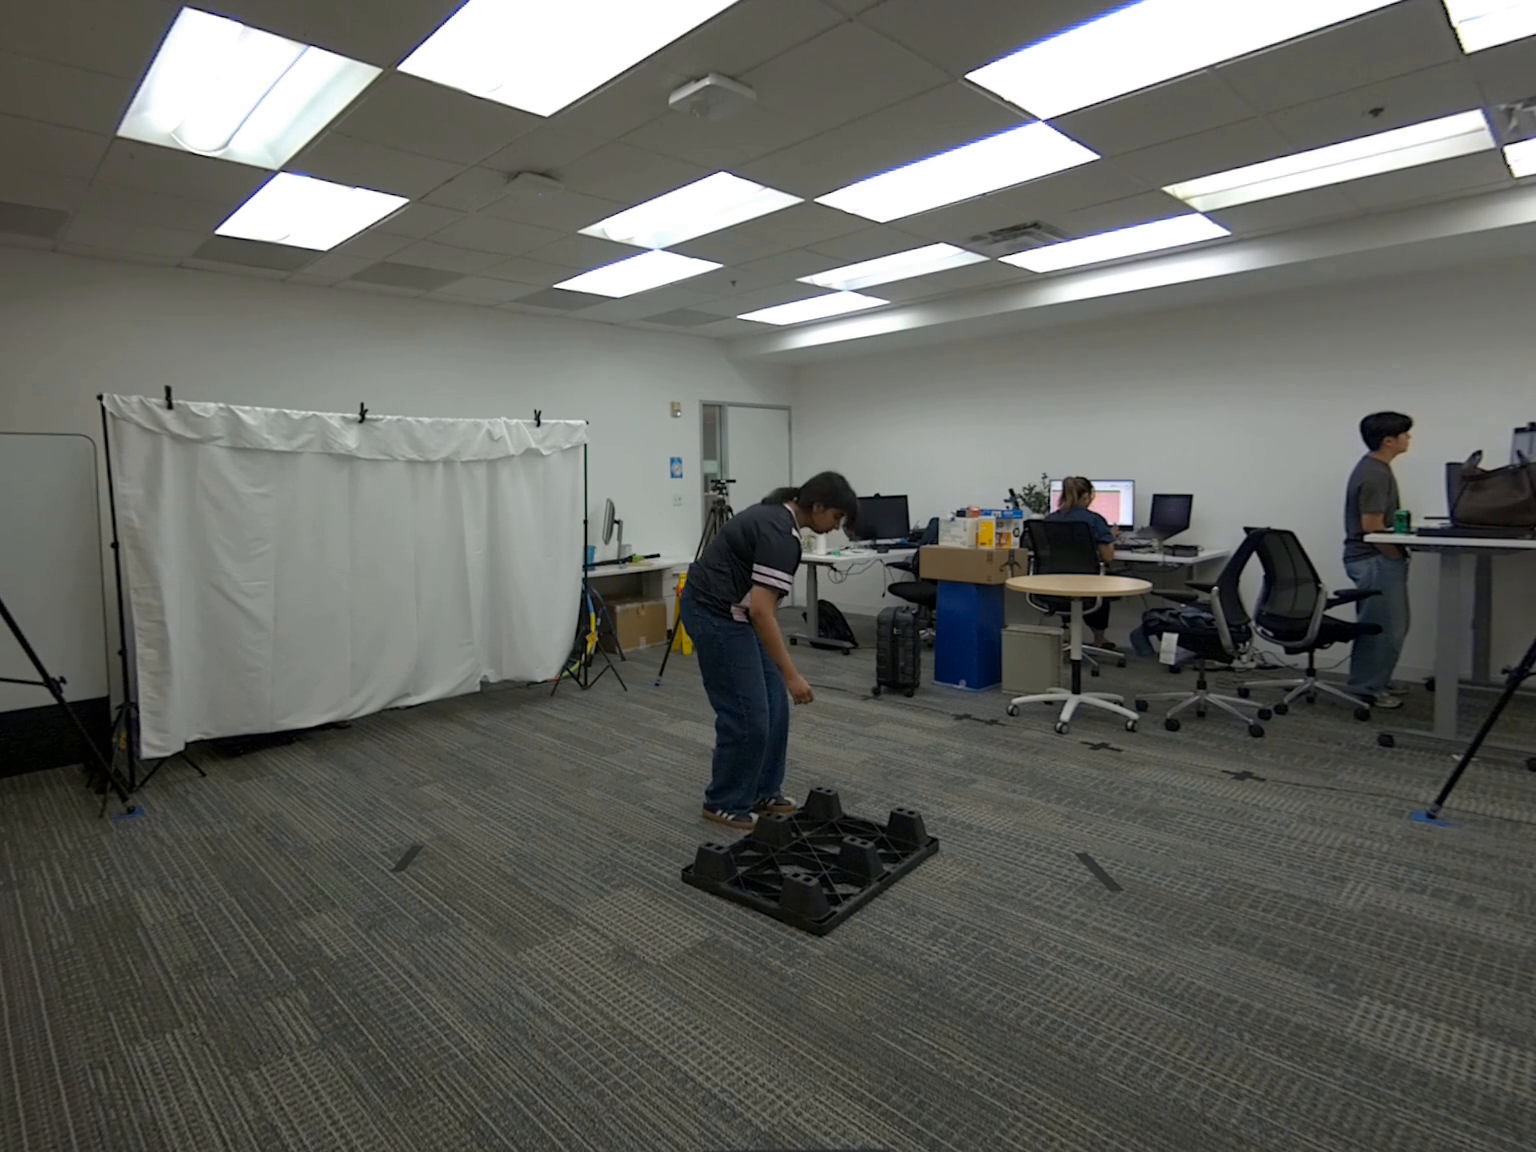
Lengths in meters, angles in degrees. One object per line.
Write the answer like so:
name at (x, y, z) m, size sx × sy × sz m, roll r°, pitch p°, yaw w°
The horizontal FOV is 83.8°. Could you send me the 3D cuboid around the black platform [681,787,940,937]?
black platform at (0.173, 0.982, 3.080) m, size 0.623 × 0.143 × 0.785 m, roll 3°, pitch 8°, yaw 39°
